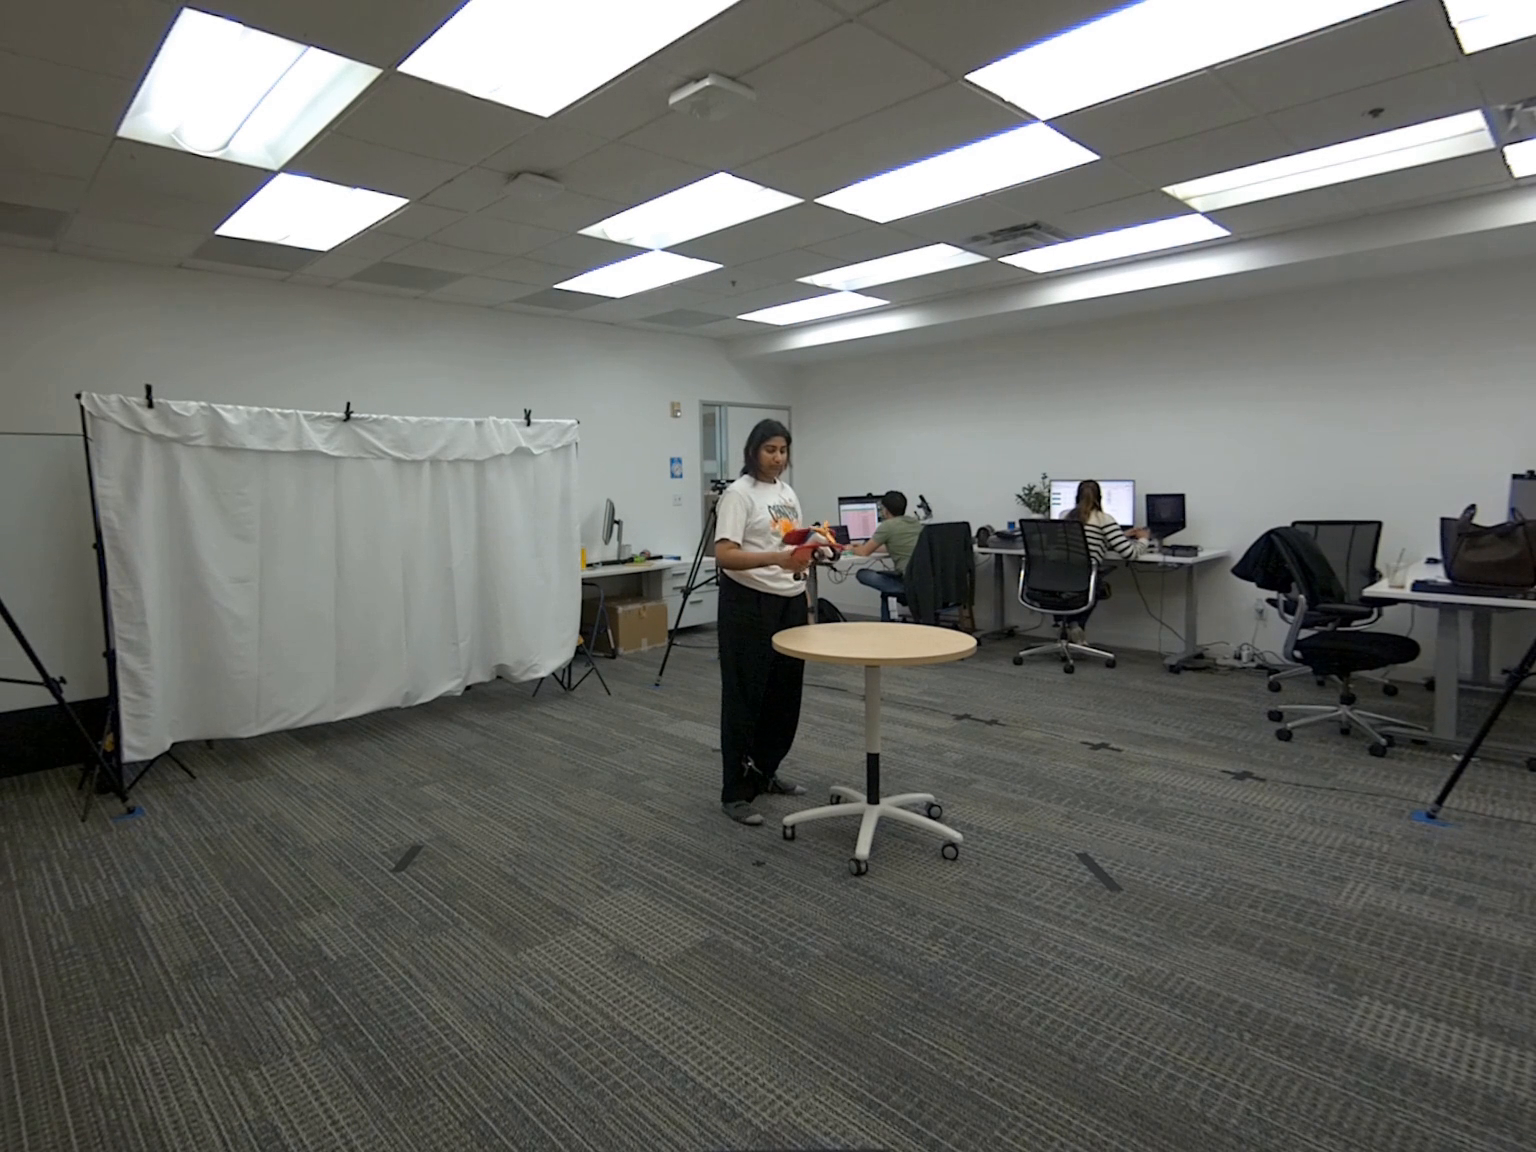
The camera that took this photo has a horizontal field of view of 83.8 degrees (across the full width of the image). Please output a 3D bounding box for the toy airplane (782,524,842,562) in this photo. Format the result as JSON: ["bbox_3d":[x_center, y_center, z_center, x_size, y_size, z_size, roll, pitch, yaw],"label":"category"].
[{"bbox_3d":[0.157,-0.087,3.378,0.262,0.160,0.243,-26,-21,22],"label":"toy airplane"}]
